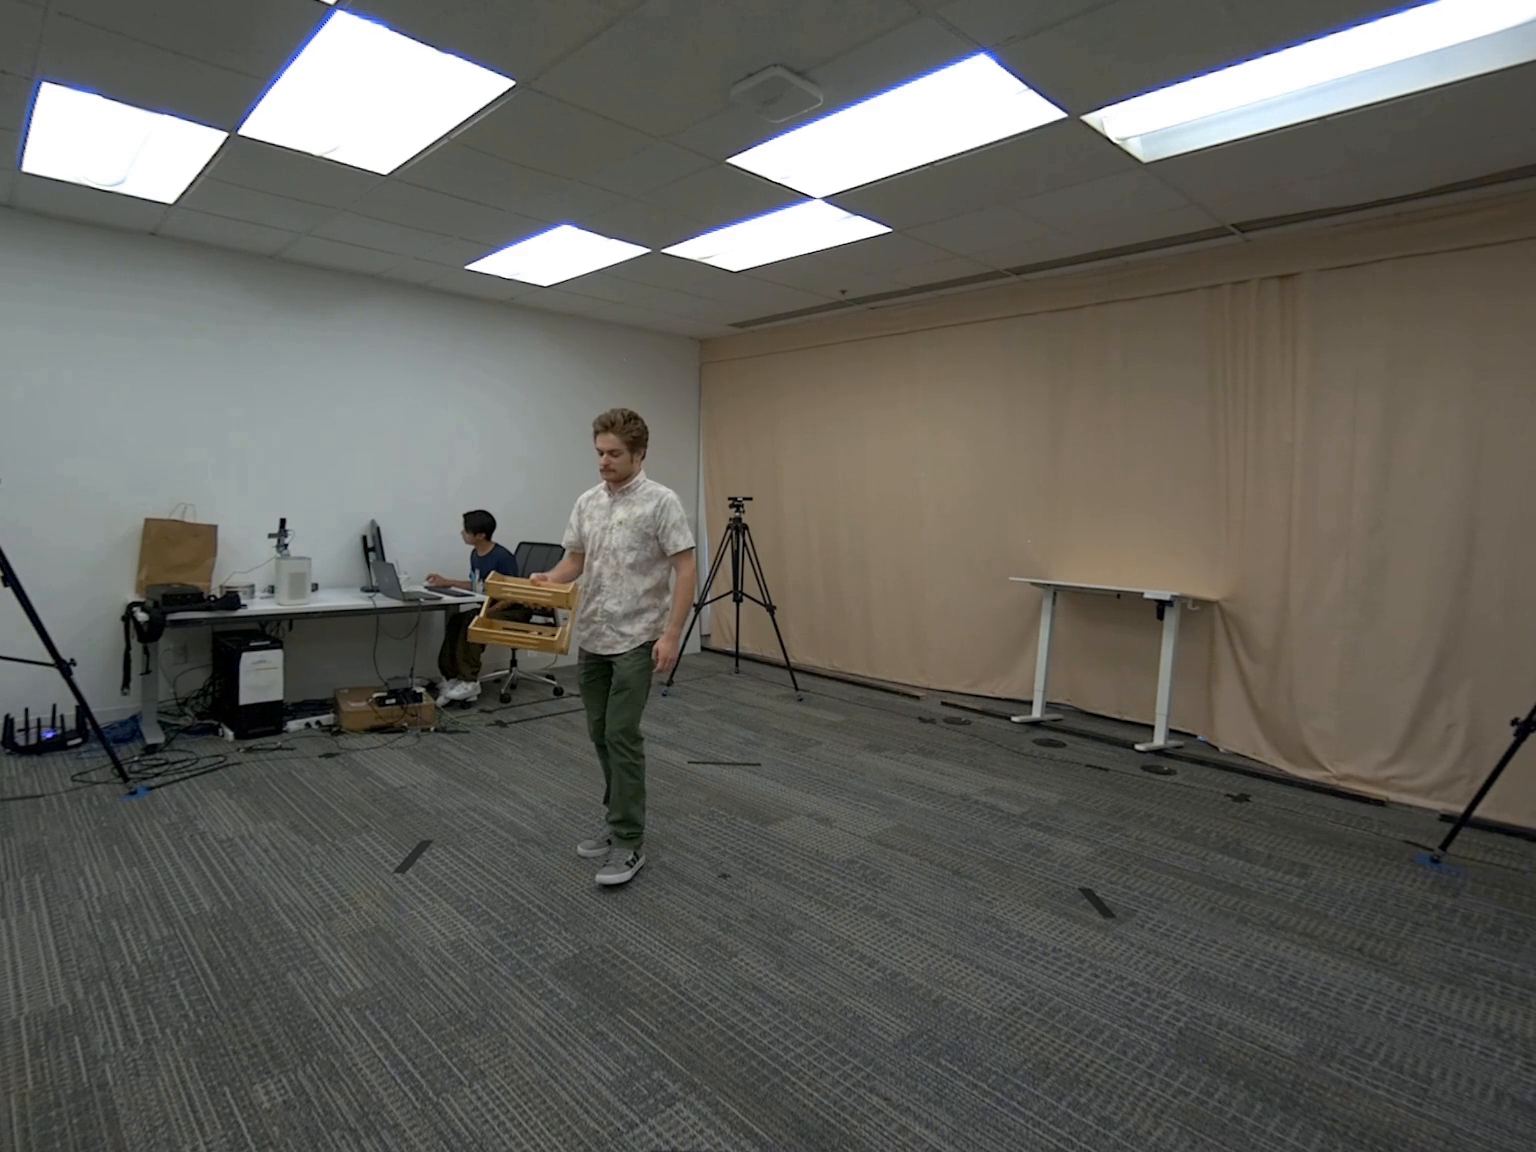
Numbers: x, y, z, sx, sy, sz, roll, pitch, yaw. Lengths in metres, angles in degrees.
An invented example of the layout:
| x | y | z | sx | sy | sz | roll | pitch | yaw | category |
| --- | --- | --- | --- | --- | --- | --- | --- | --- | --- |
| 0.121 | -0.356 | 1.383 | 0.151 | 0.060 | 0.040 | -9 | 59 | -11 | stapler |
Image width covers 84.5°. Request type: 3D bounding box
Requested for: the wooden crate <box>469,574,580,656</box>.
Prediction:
| x | y | z | sx | sy | sz | roll | pitch | yaw | category |
| --- | --- | --- | --- | --- | --- | --- | --- | --- | --- |
| -0.879 | 0.129 | 2.991 | 0.325 | 0.275 | 0.299 | 8 | -8 | 2 | wooden crate |
